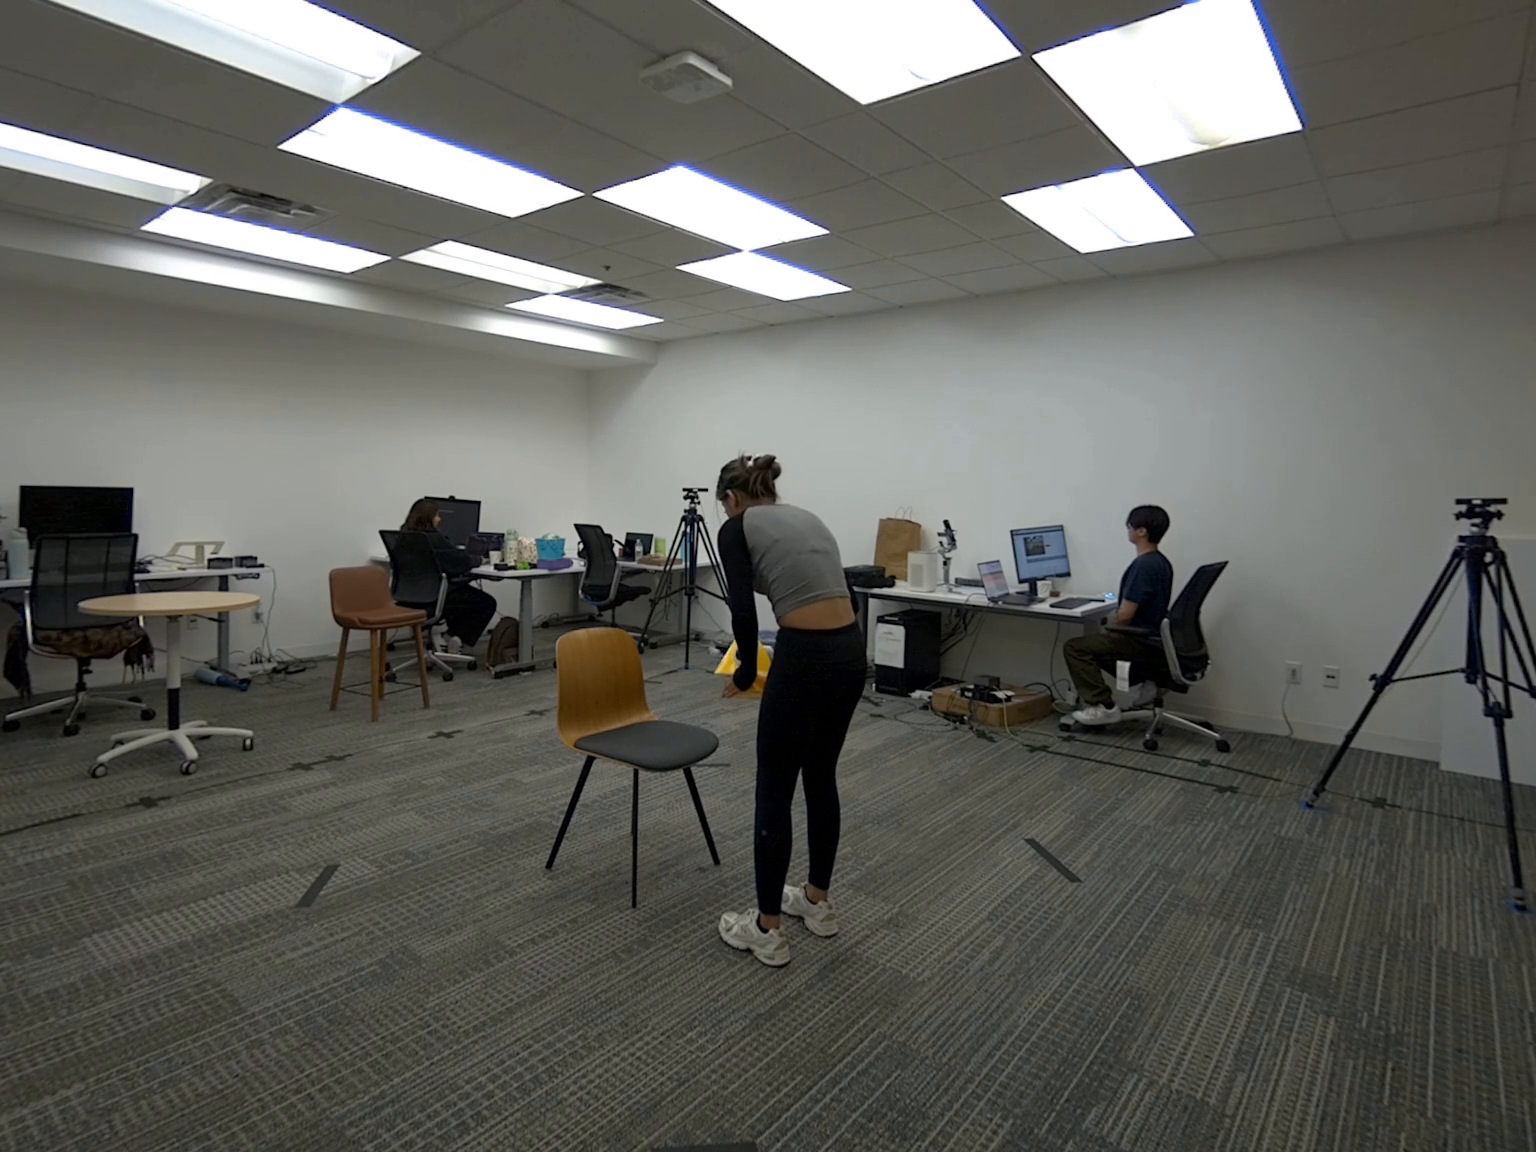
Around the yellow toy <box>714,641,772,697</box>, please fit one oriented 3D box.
[{"bbox_3d":[-0.048,0.278,2.771,0.198,0.235,0.196,10,-21,-36],"label":"yellow toy"}]
